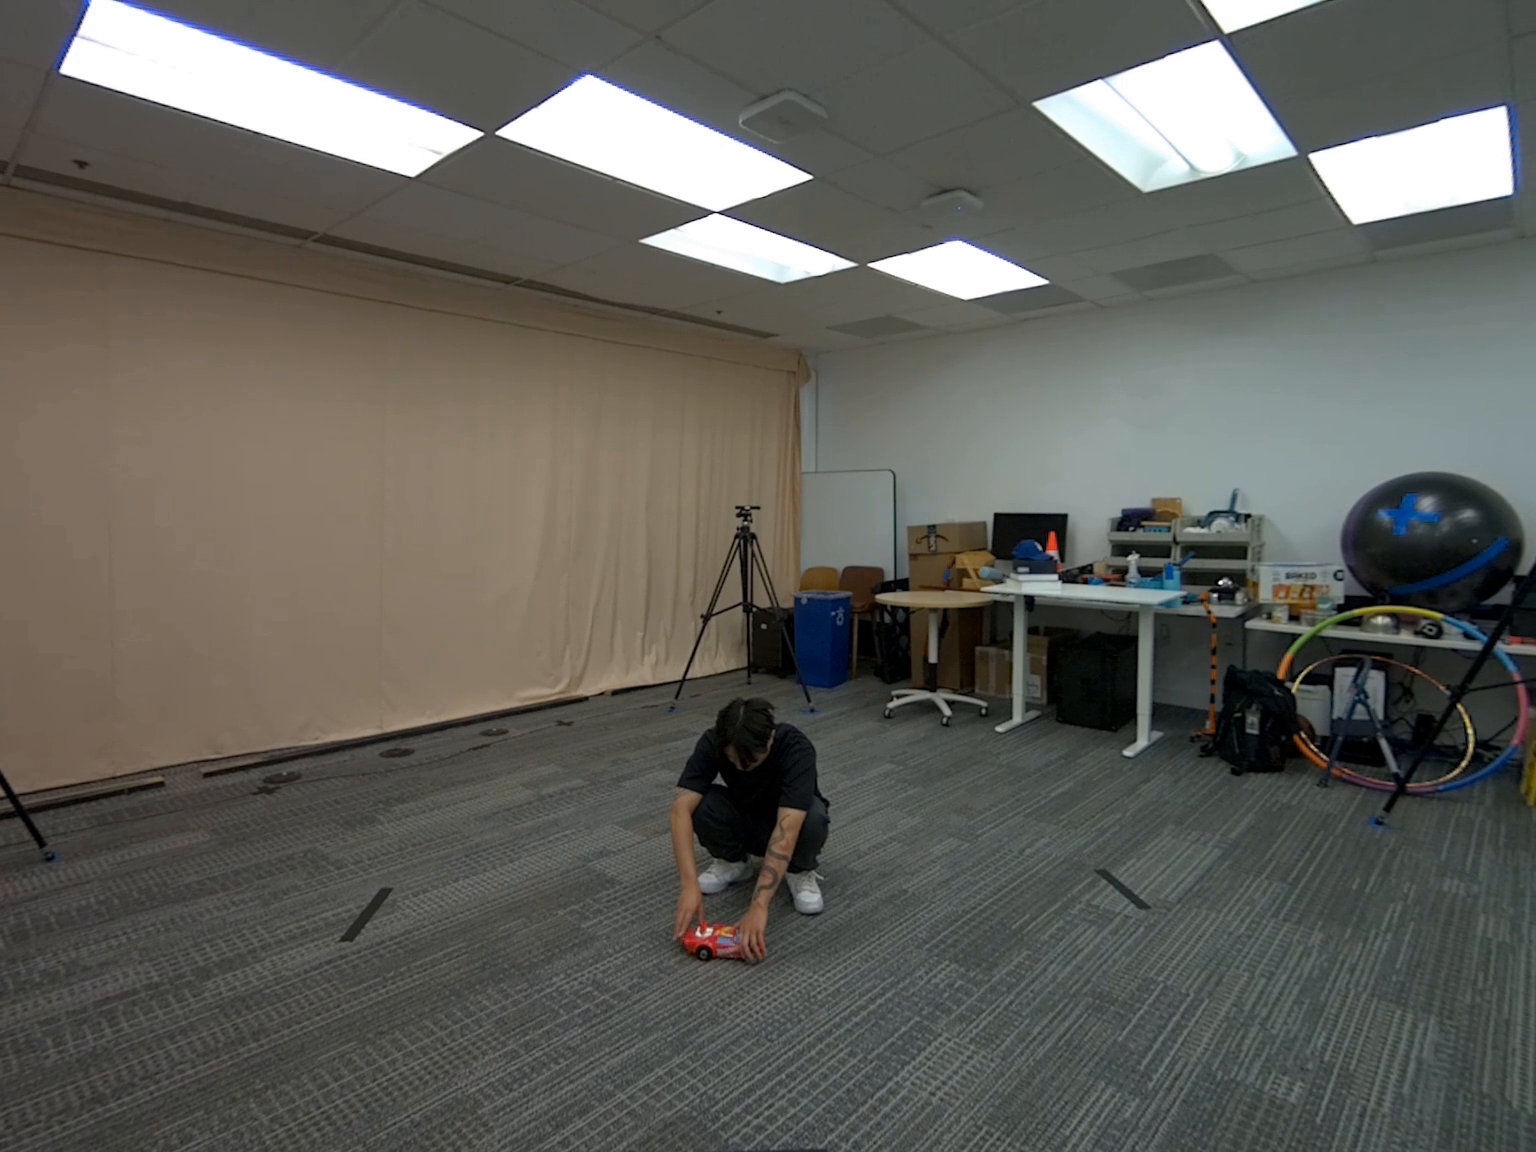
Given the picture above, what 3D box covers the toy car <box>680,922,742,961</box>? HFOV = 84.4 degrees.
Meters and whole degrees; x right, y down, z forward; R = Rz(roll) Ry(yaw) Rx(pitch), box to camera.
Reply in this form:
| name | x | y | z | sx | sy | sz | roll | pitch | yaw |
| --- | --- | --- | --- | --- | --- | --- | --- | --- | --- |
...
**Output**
| name | x | y | z | sx | sy | sz | roll | pitch | yaw |
| --- | --- | --- | --- | --- | --- | --- | --- | --- | --- |
| toy car | -0.144 | 1.137 | 2.624 | 0.257 | 0.083 | 0.129 | 10 | 7 | 7 |
